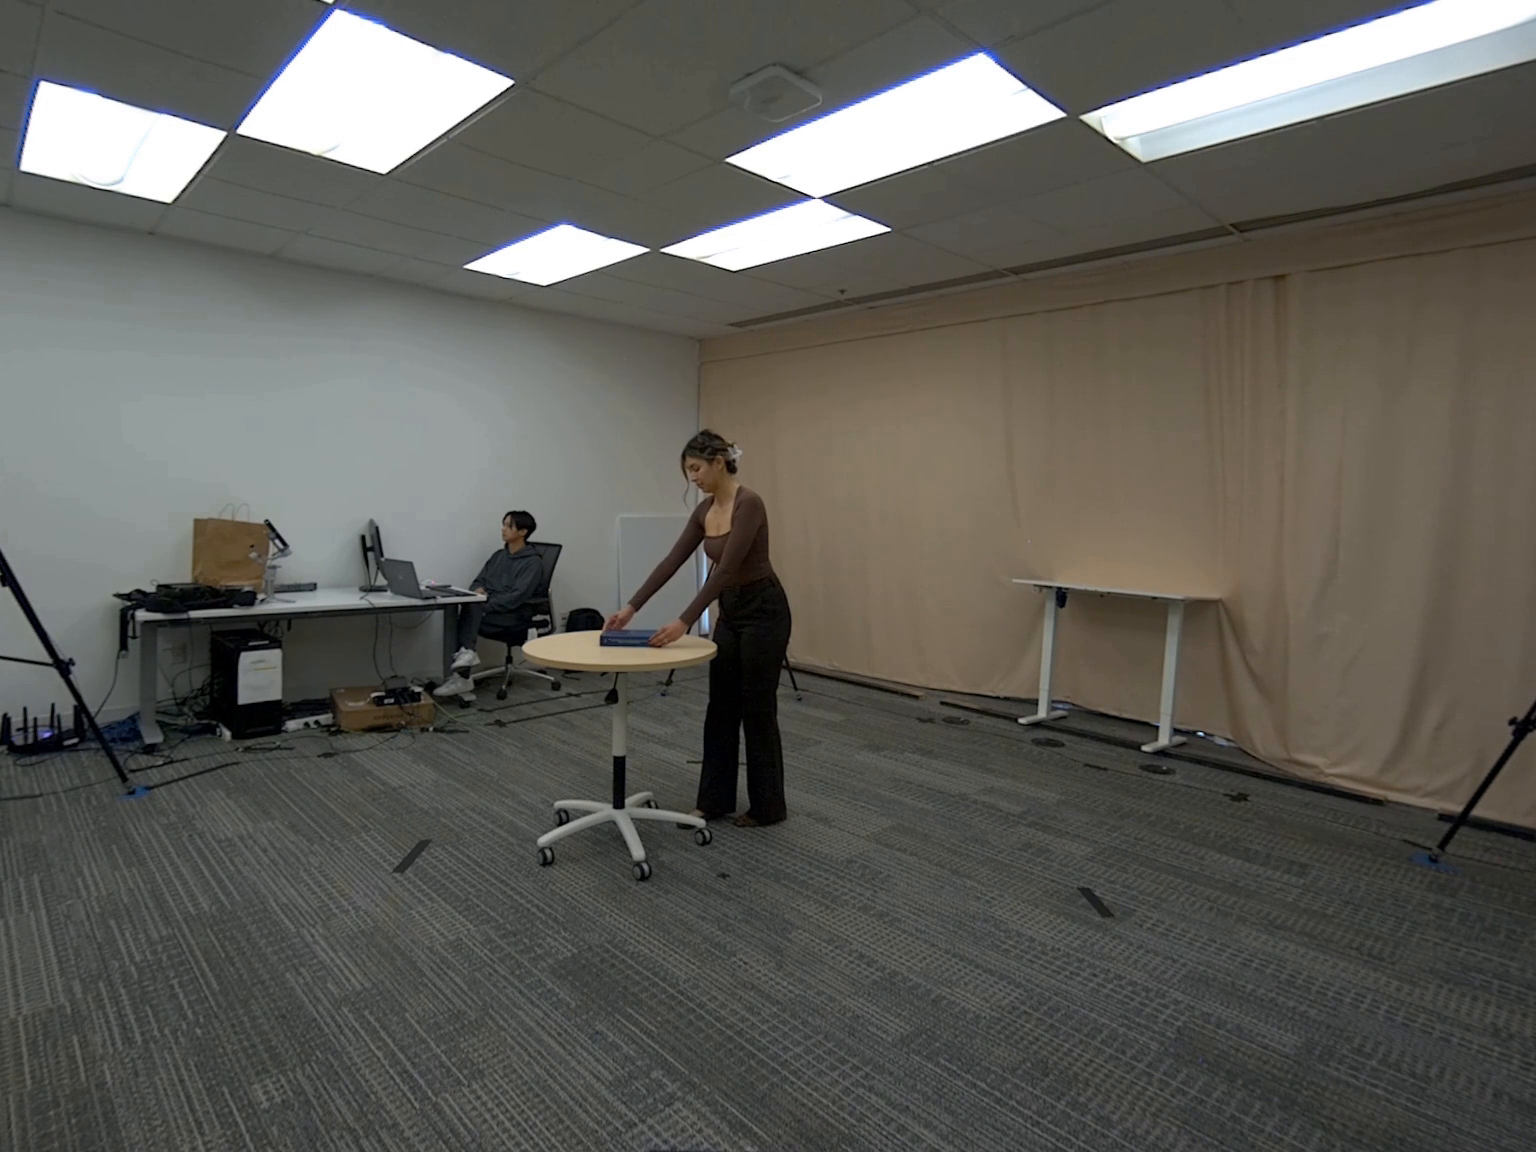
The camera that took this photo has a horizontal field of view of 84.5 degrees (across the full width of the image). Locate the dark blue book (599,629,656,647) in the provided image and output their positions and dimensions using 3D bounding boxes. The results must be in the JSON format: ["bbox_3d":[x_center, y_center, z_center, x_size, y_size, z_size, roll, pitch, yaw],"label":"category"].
[{"bbox_3d":[-0.554,0.254,3.395,0.245,0.045,0.163,1,5,2],"label":"dark blue book"}]
